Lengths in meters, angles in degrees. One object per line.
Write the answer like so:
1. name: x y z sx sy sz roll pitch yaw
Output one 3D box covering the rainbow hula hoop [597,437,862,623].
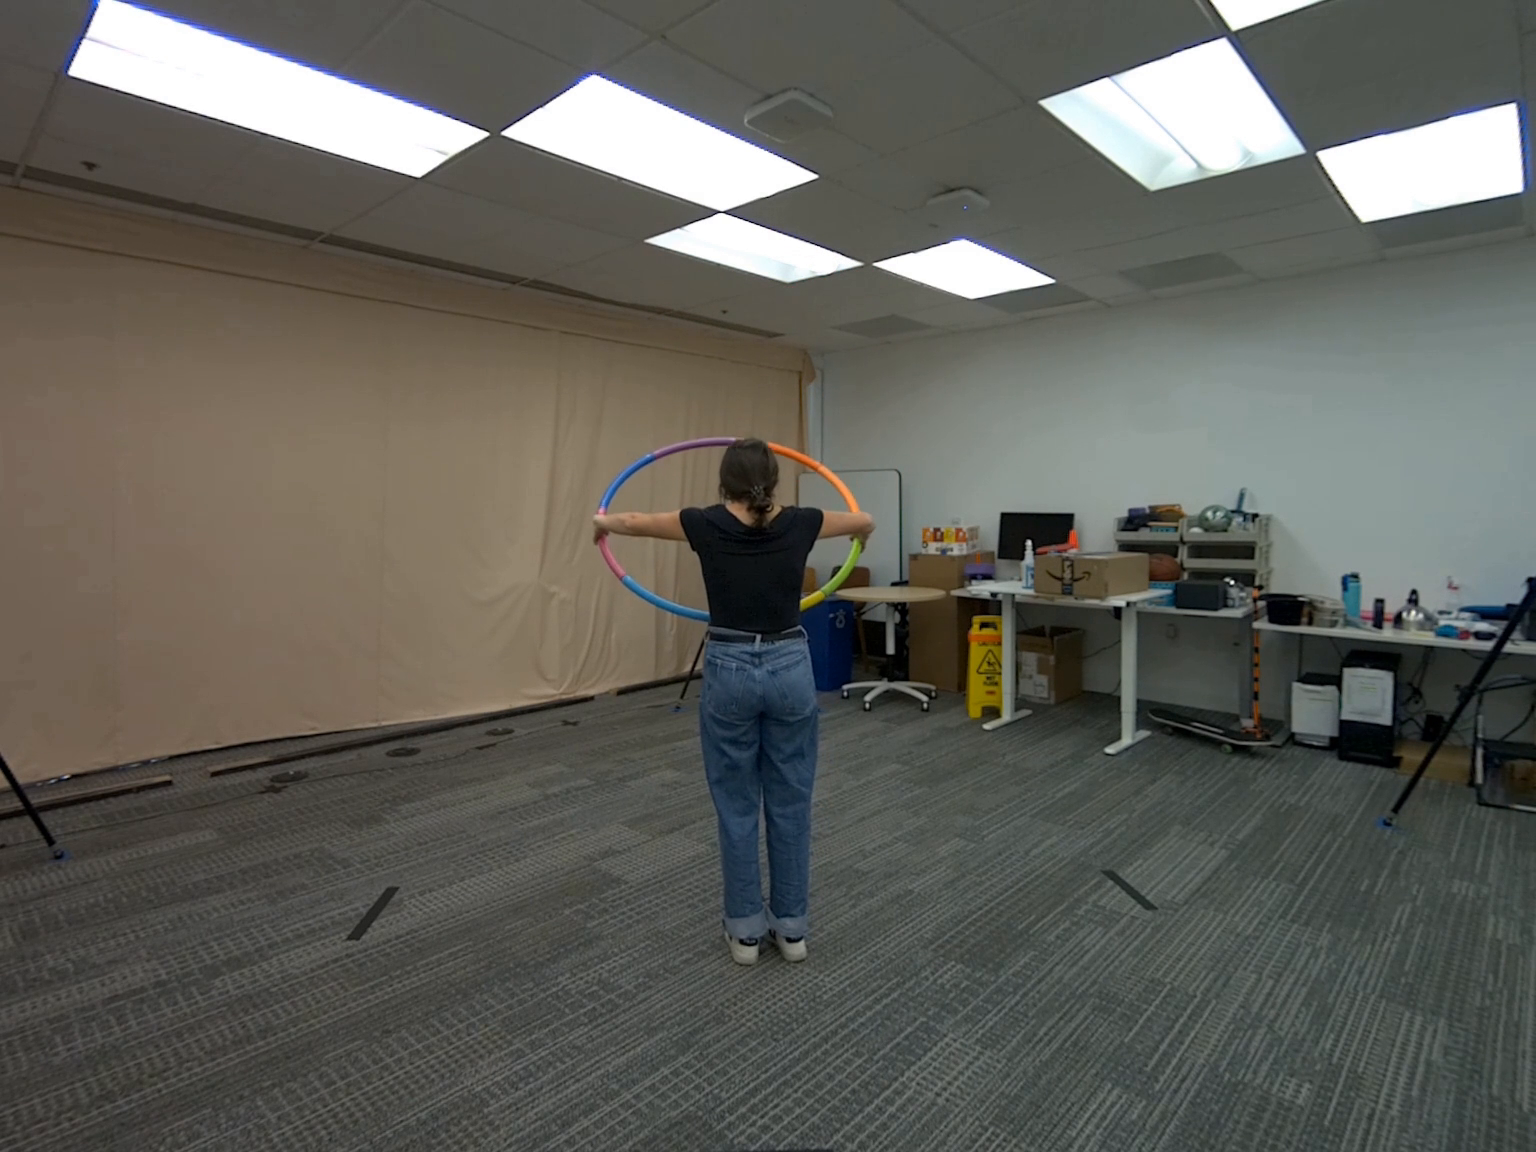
1. rainbow hula hoop: -0.123 -0.206 3.116 0.977 0.035 0.998 0 45 -2
